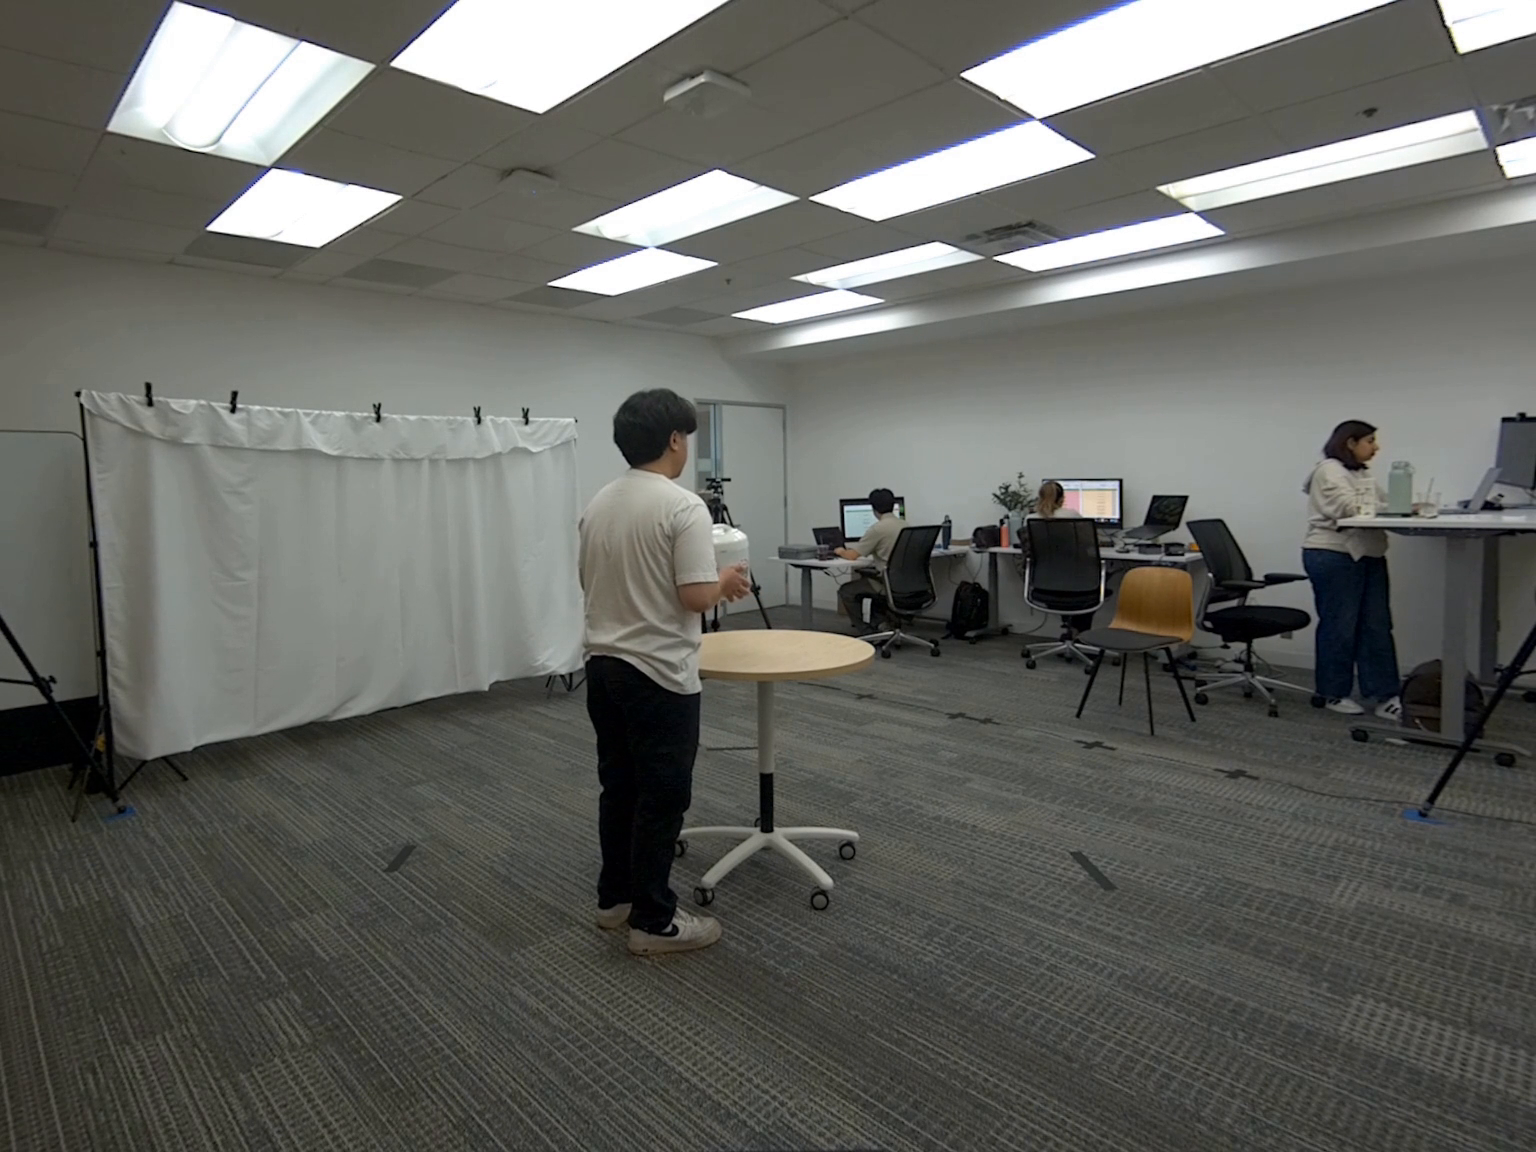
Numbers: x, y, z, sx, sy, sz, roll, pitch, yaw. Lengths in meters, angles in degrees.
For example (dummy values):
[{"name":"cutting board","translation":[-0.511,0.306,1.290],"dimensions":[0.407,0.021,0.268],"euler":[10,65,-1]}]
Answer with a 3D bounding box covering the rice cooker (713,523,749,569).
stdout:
[{"name":"rice cooker","translation":[-0.160,-0.055,2.776],"dimensions":[0.224,0.231,0.216],"euler":[2,12,37]}]
